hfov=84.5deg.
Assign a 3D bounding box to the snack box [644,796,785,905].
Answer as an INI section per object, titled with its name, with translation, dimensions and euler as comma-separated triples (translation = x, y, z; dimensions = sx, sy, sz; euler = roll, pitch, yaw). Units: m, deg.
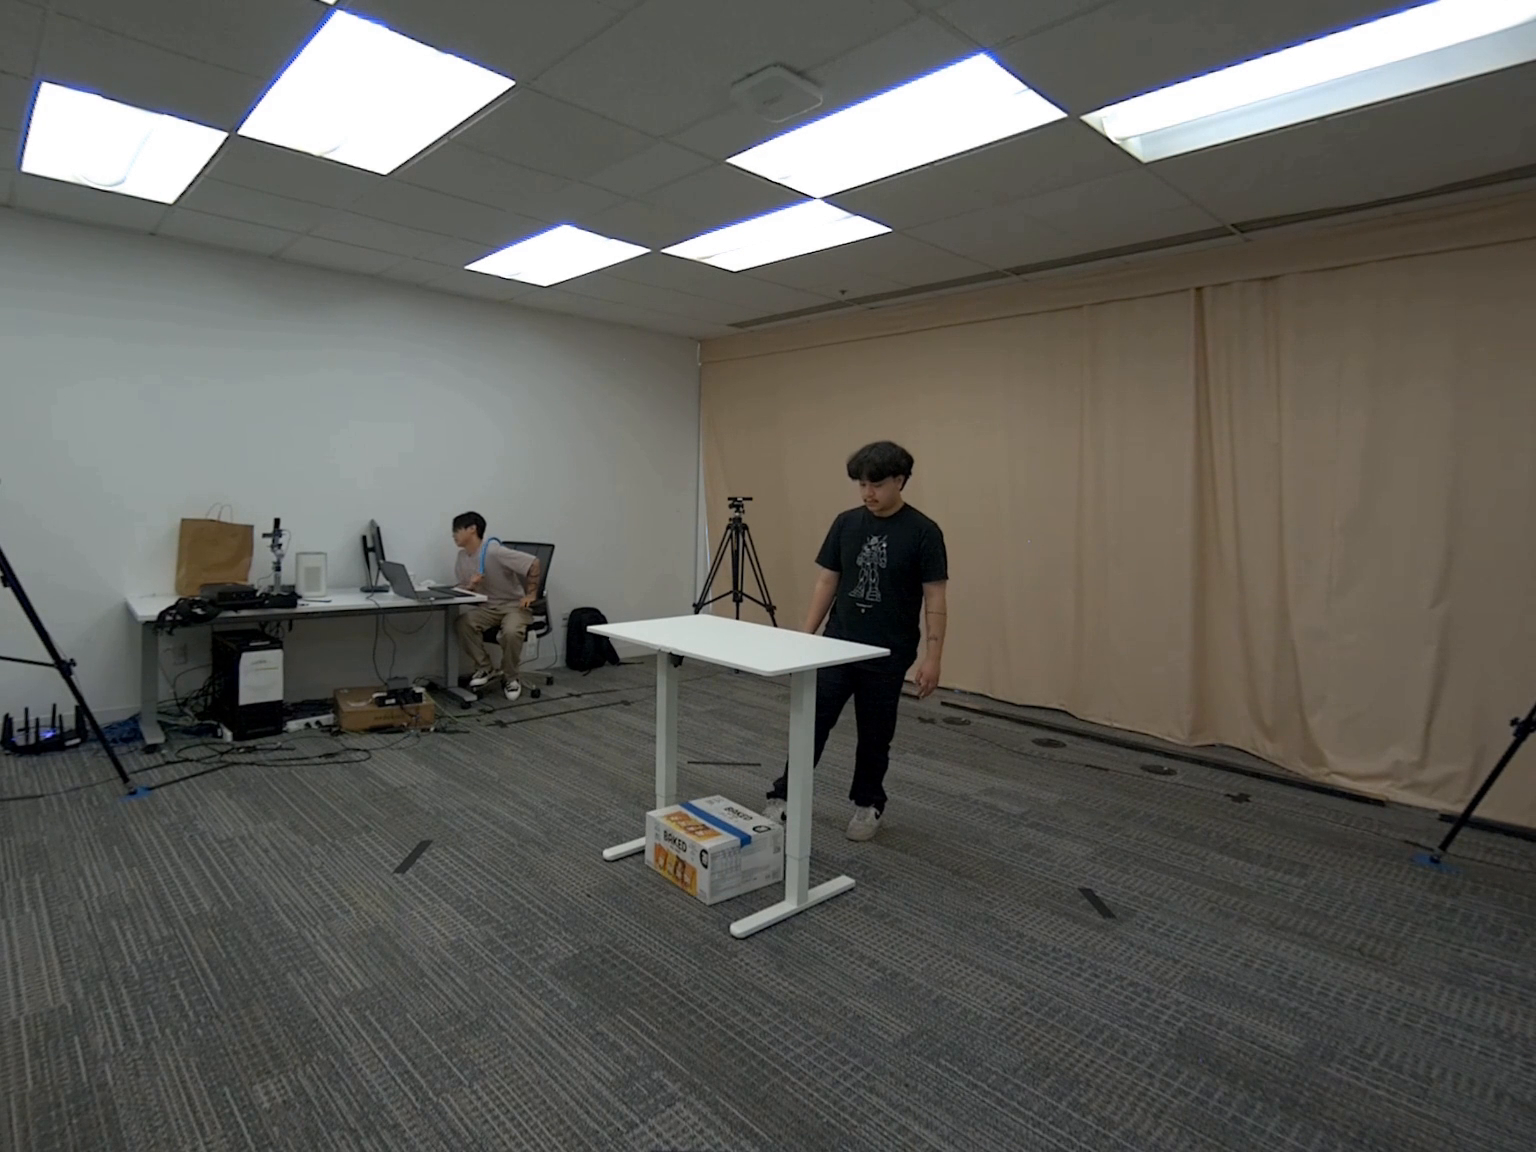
[snack box]
translation = -0.207, 1.005, 3.117
dimensions = 0.333, 0.205, 0.415
euler = -3, 6, -38
